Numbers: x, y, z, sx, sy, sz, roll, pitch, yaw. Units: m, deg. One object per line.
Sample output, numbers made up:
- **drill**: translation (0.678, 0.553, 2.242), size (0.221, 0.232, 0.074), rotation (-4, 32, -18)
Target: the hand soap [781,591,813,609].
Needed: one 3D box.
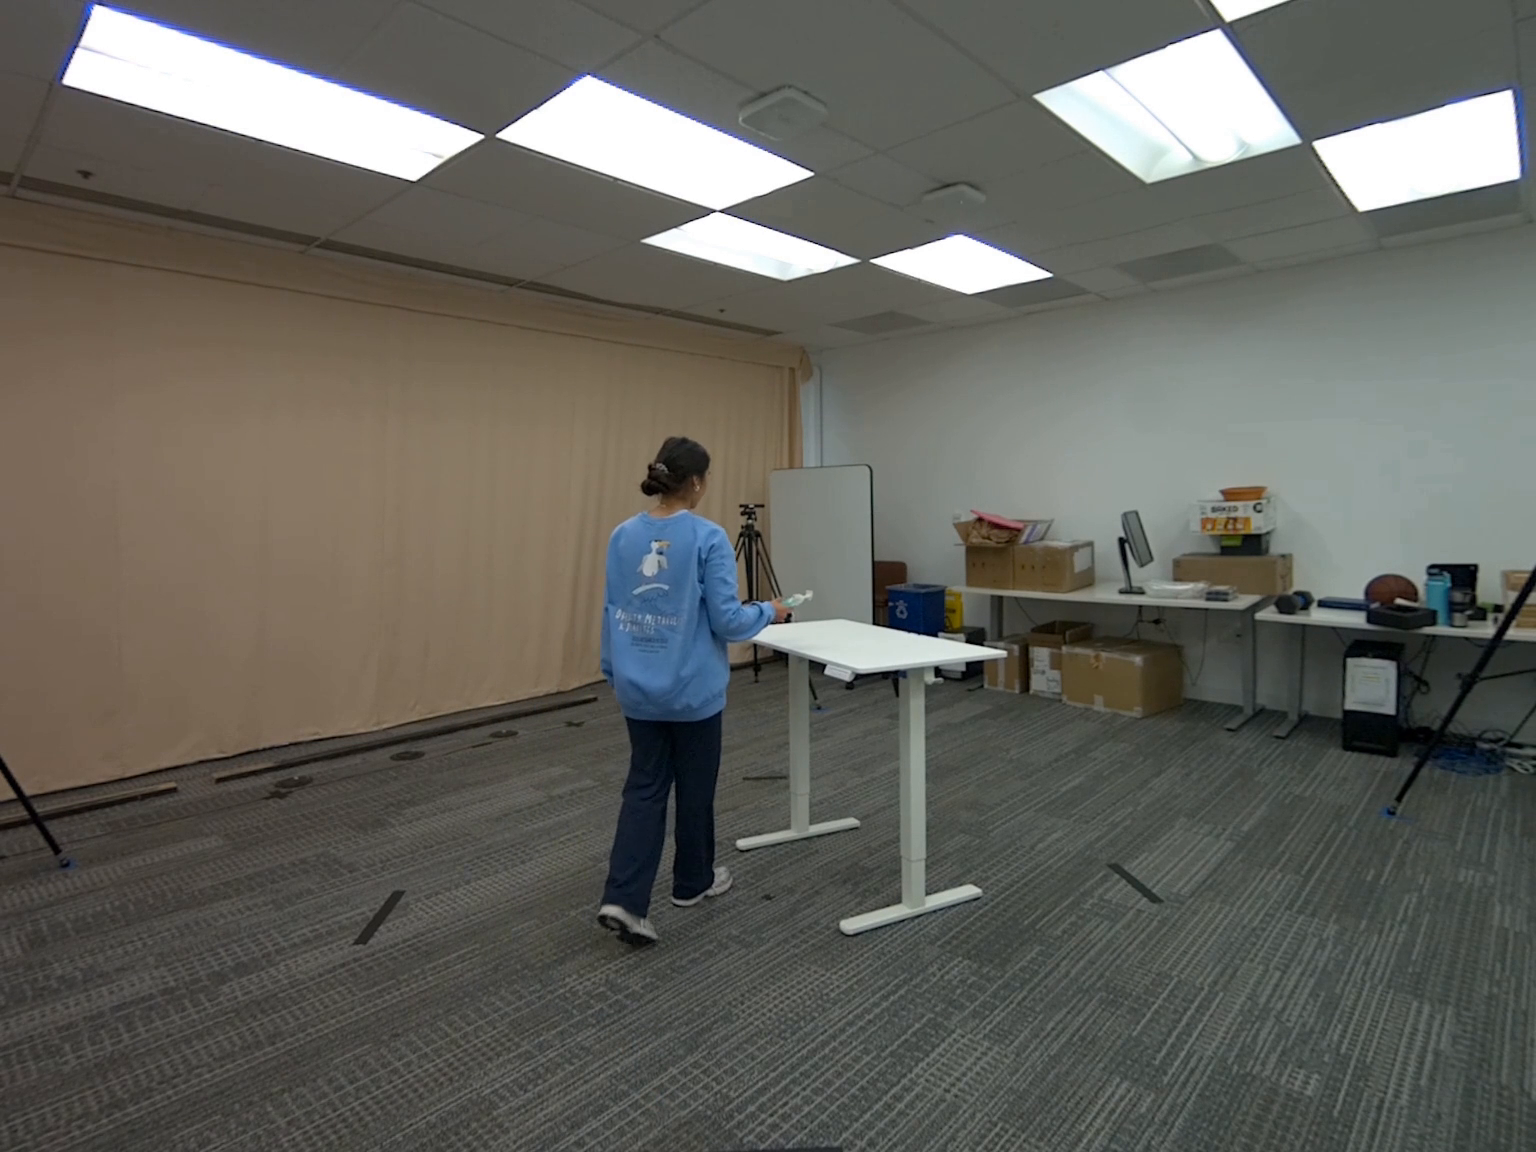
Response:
- **hand soap**: translation (0.078, 0.098, 2.960), size (0.170, 0.043, 0.084), rotation (-20, 3, 16)
